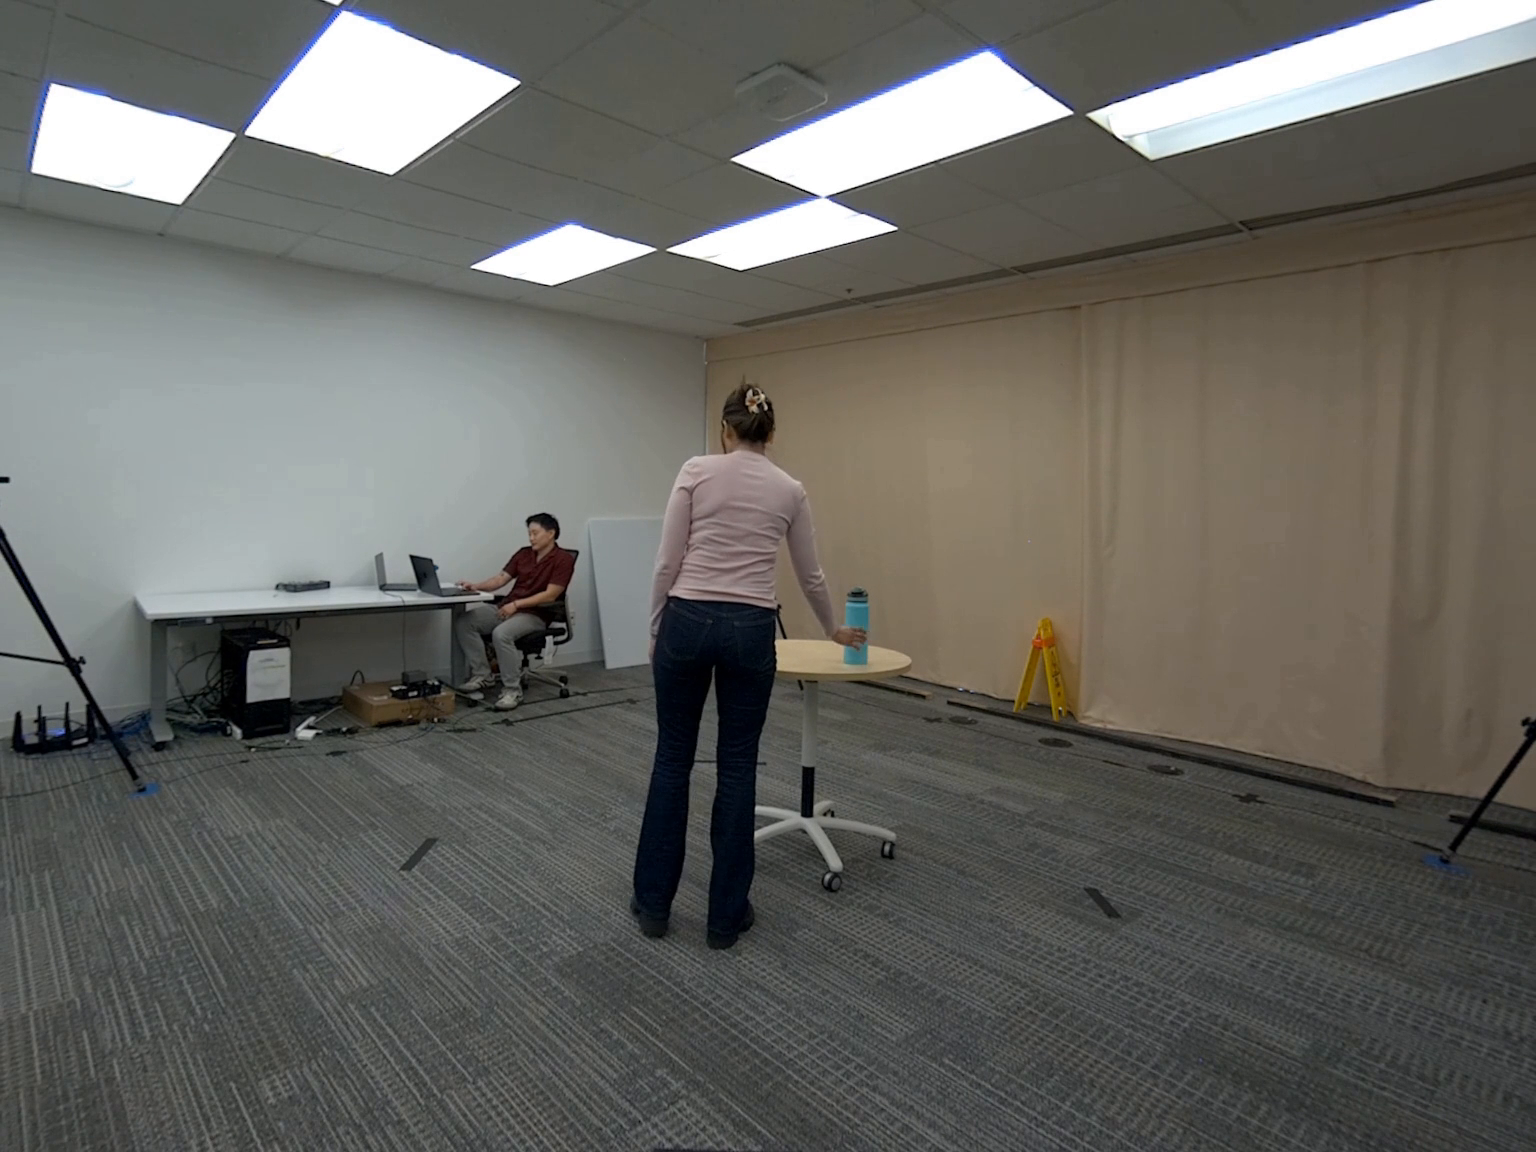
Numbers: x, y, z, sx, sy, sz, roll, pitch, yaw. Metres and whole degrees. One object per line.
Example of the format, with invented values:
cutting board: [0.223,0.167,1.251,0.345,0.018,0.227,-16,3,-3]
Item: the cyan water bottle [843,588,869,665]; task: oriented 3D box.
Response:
cyan water bottle: [0.329,0.186,3.151,0.092,0.283,0.092,3,1,-1]
